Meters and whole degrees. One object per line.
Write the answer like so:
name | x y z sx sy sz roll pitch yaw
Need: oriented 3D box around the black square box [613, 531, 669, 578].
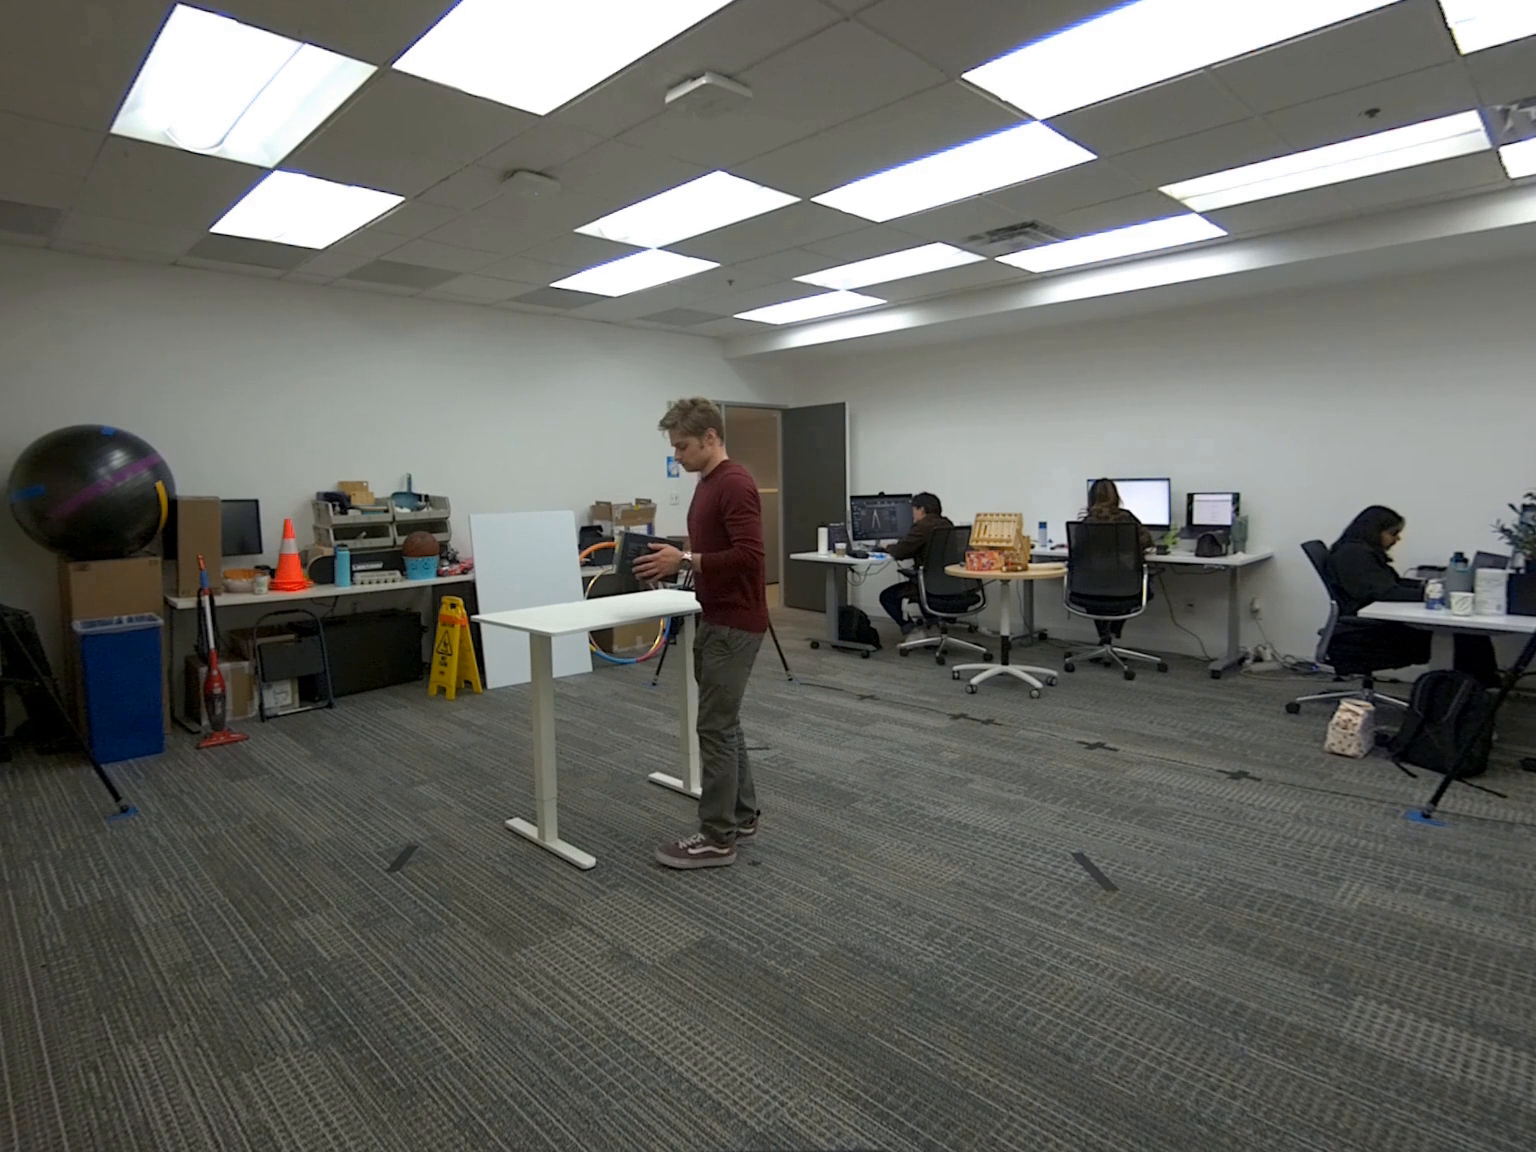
black square box | -0.439 -0.079 3.139 0.214 0.156 0.231 8 2 -13
